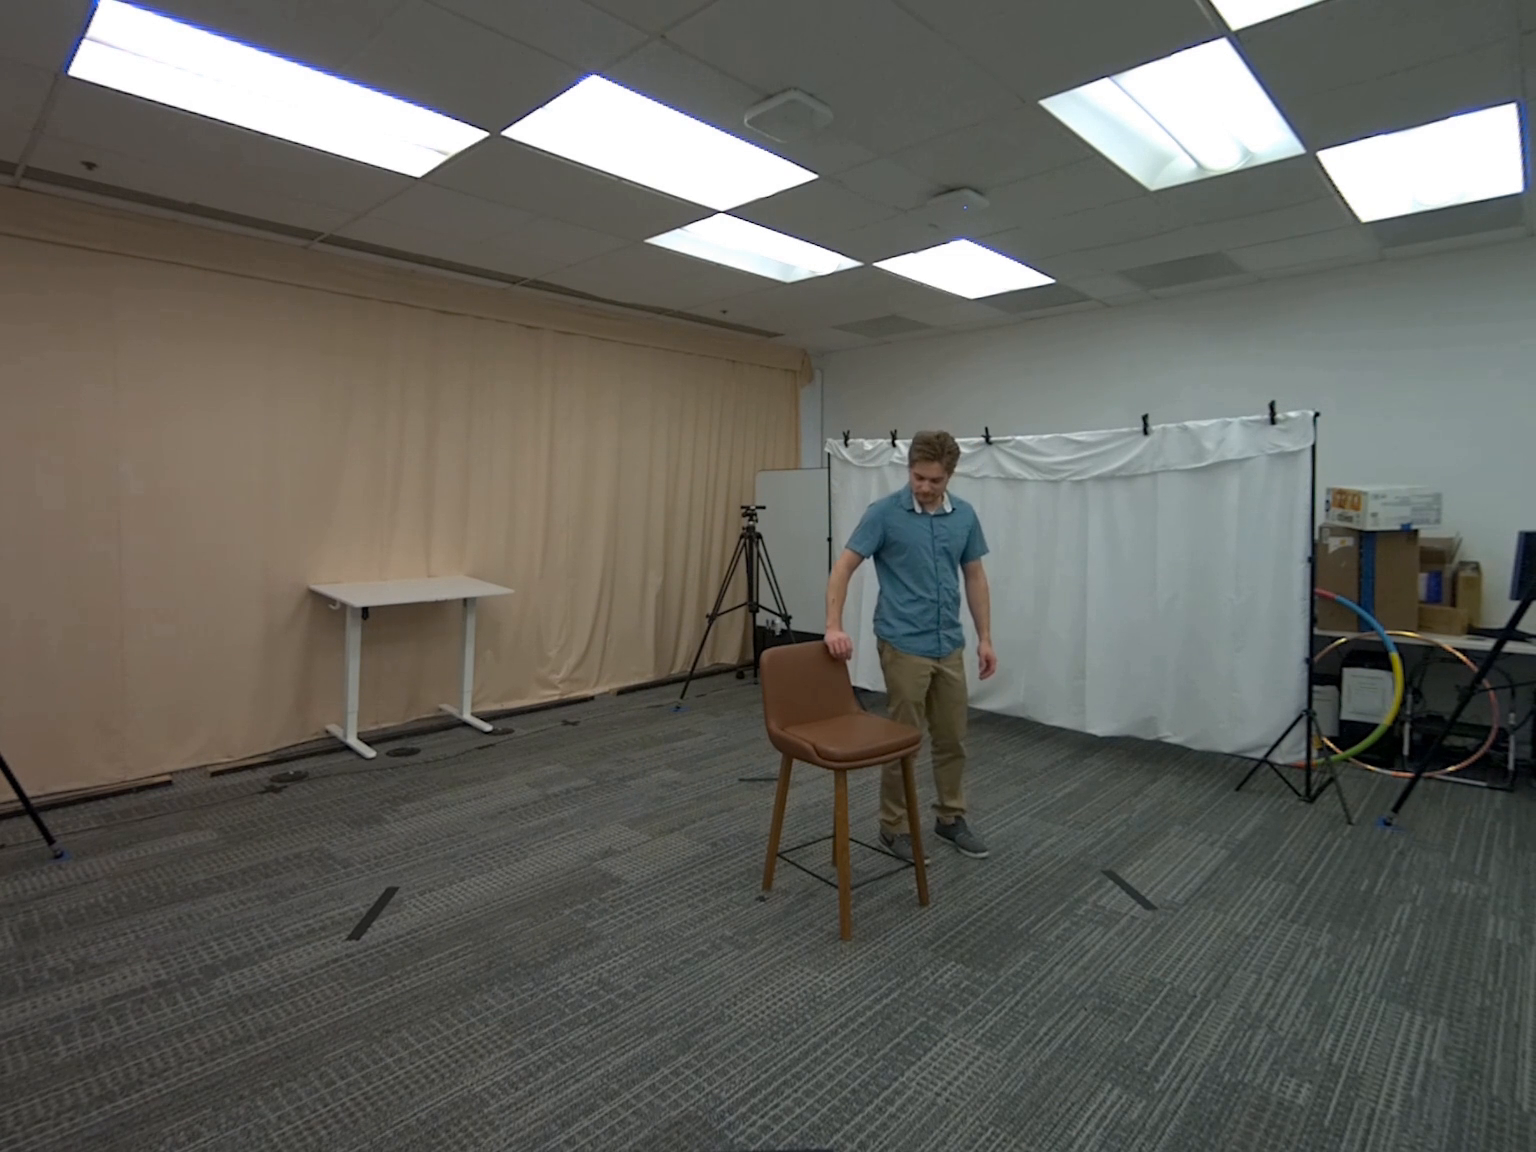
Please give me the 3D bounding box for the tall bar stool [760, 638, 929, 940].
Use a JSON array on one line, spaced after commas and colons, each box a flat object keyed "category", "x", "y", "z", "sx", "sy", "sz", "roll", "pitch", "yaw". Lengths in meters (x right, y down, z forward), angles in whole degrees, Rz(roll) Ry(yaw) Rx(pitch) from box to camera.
[{"category": "tall bar stool", "x": 0.259, "y": 0.709, "z": 2.967, "sx": 0.443, "sy": 0.889, "sz": 0.482, "roll": -3, "pitch": 2, "yaw": -38}]
